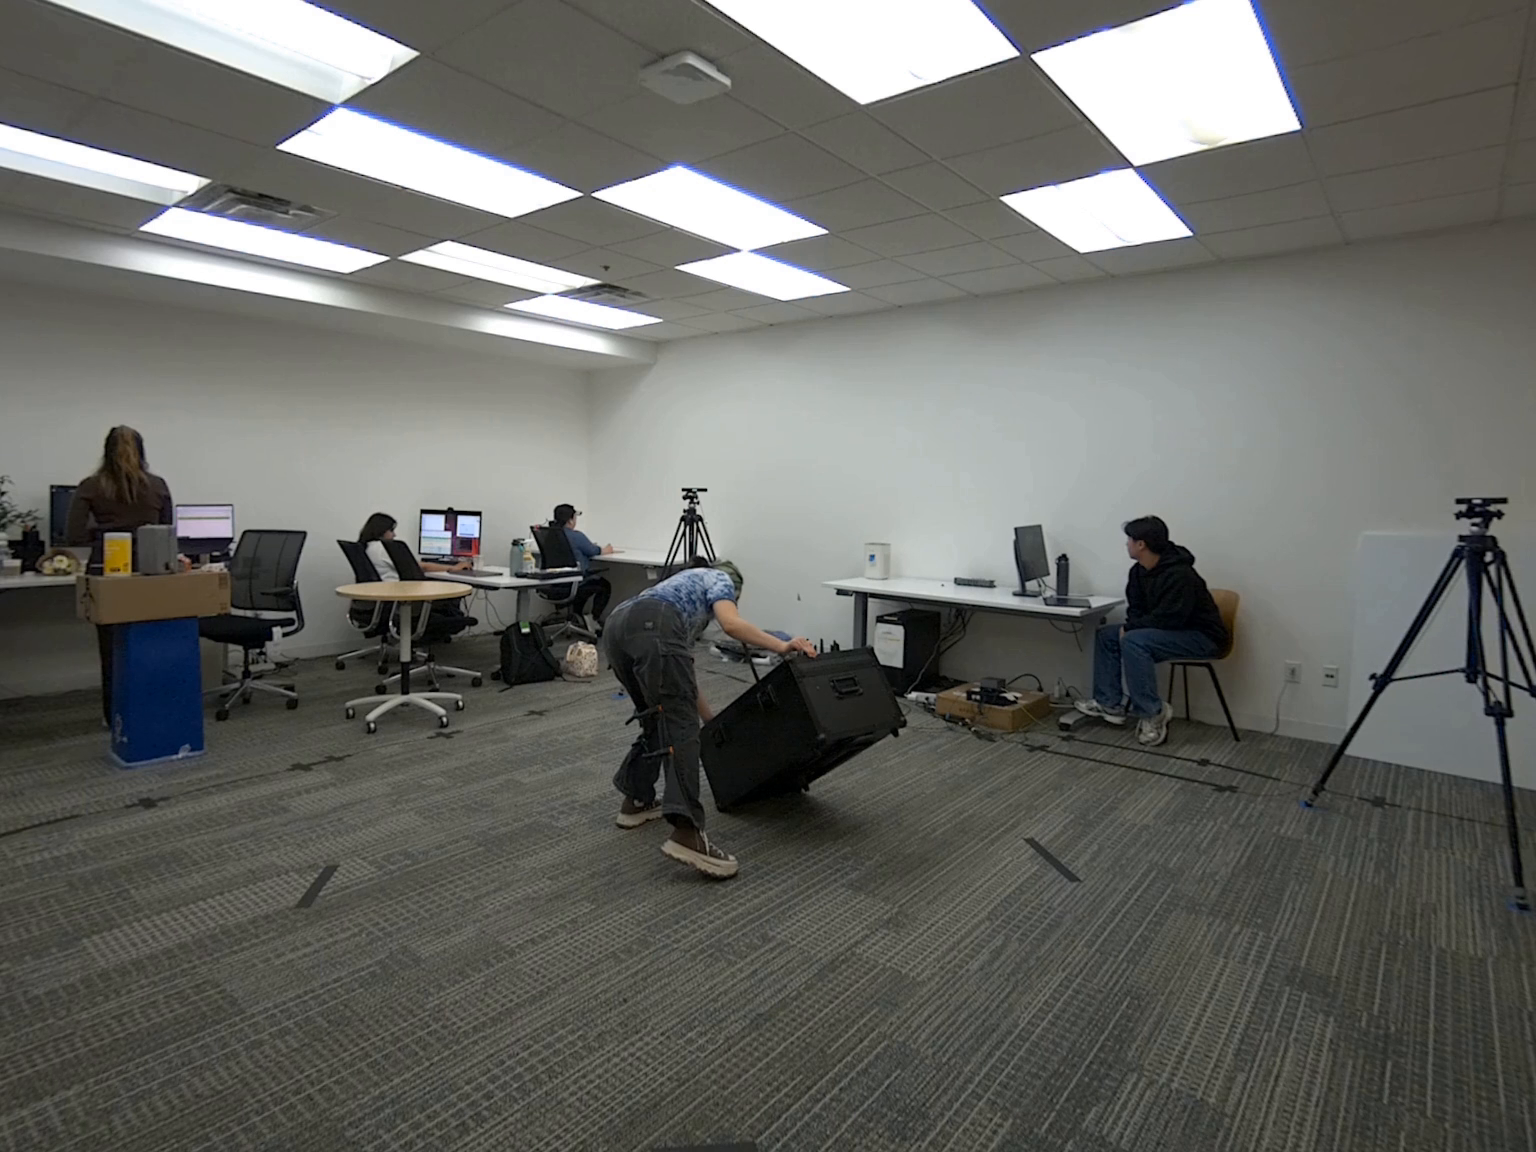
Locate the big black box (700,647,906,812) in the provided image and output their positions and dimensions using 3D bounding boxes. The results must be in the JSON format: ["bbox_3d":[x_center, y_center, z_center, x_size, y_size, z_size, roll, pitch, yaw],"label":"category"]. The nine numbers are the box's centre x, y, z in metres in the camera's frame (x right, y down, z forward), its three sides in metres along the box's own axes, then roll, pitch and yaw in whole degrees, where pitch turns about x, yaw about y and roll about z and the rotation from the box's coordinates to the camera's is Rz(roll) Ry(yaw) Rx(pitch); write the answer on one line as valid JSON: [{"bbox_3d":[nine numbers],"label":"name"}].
[{"bbox_3d":[0.115,0.646,3.593,0.506,0.408,0.861,-2,-31,-38],"label":"big black box"}]
